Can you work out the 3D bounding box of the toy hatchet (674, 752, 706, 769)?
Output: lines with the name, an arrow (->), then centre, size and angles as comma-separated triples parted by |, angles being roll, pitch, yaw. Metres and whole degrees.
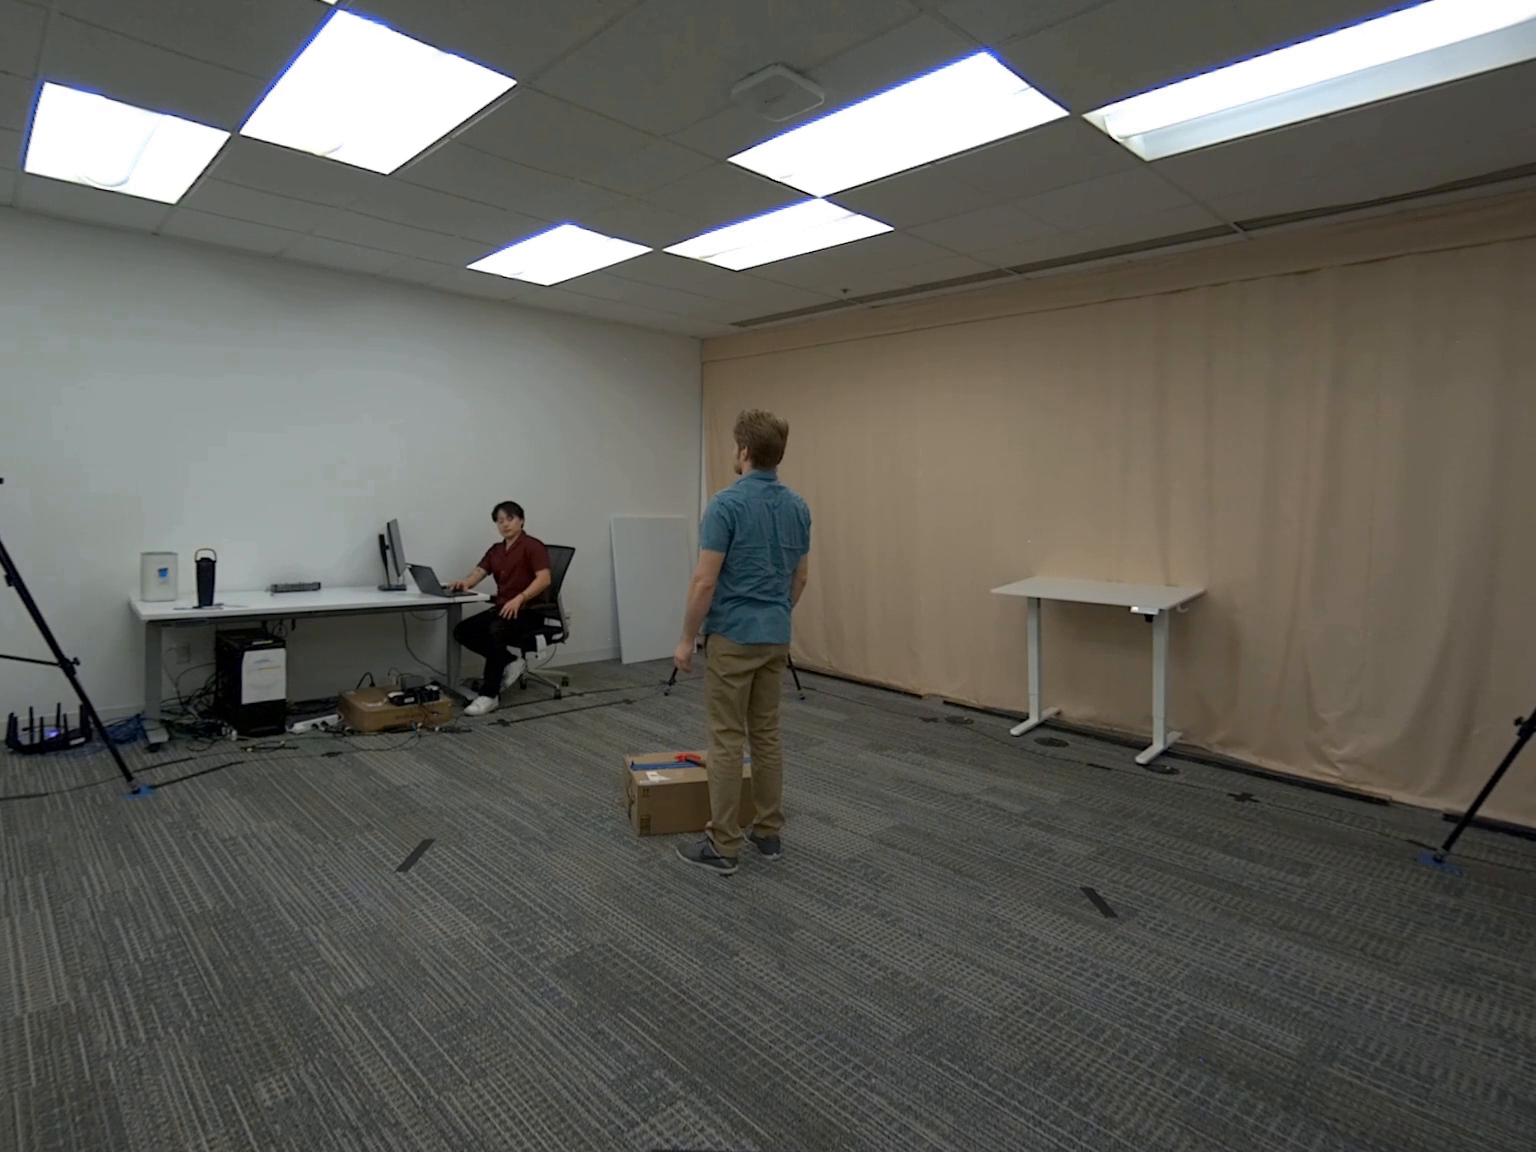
toy hatchet -> -0.281, 0.814, 3.705 | 0.275, 0.029, 0.128 | 7, 1, 23
